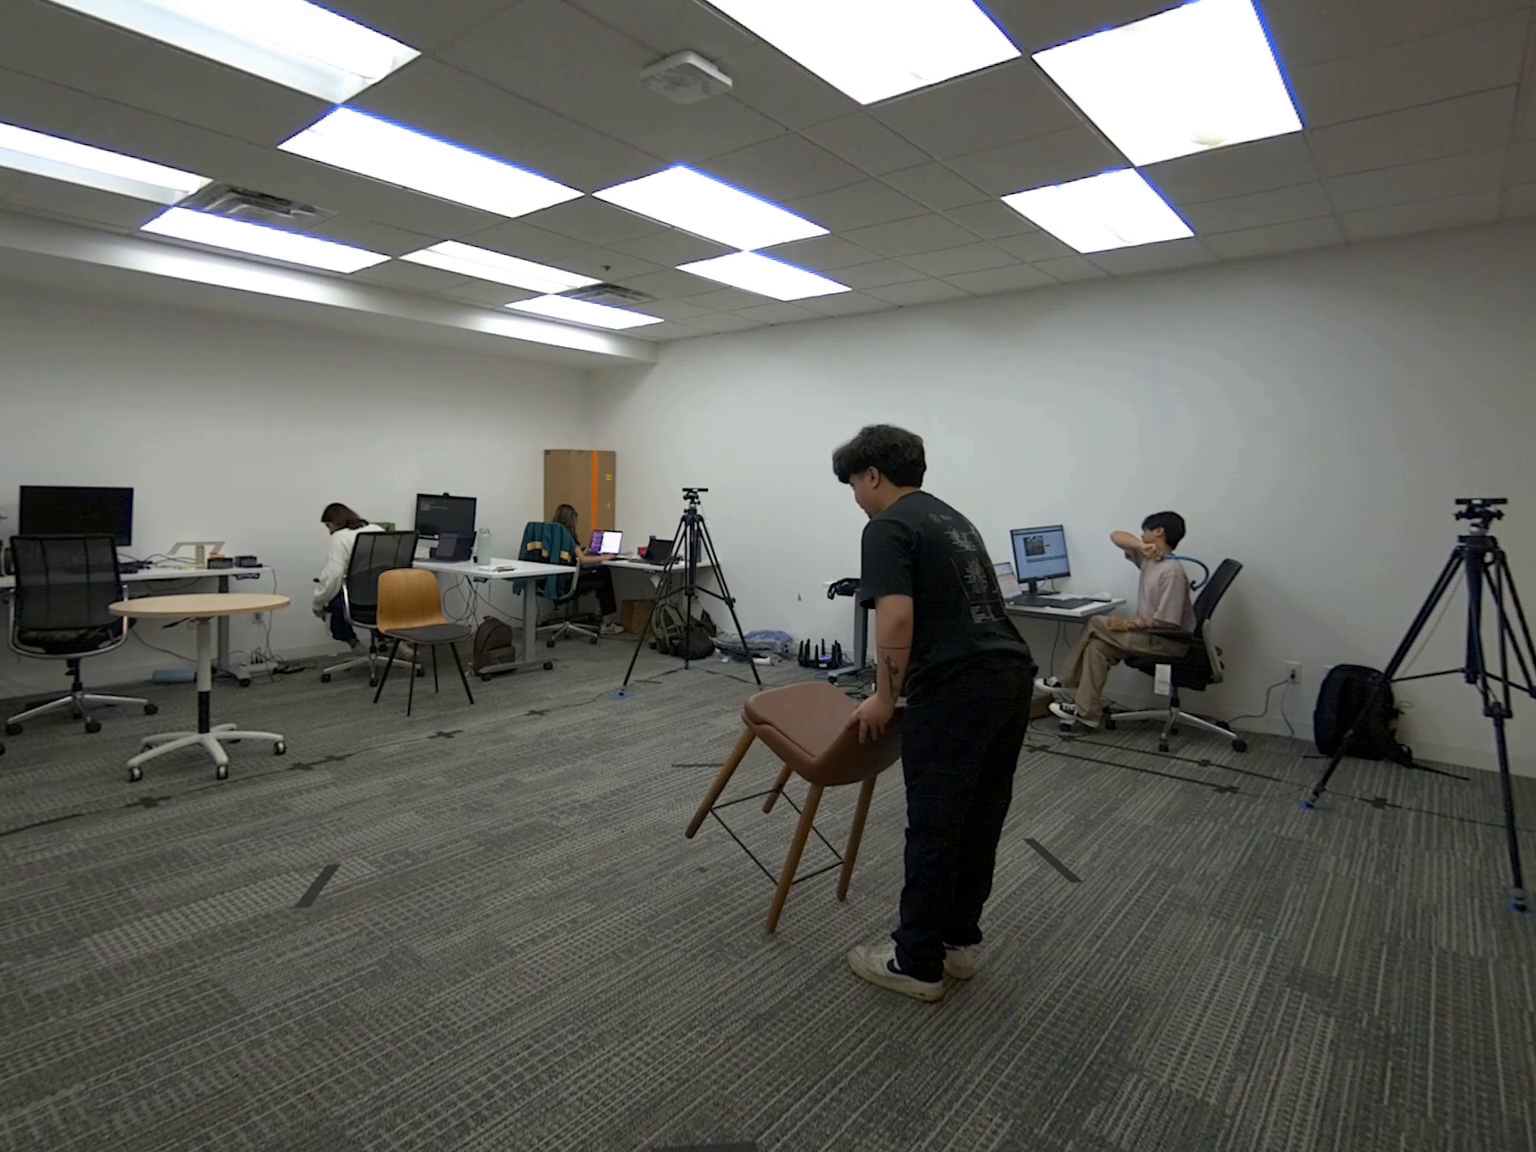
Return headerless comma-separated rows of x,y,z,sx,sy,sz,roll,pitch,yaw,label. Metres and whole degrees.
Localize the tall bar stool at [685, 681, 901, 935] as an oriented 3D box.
0.136,0.625,2.769,0.442,0.880,0.487,-1,32,-44,tall bar stool
